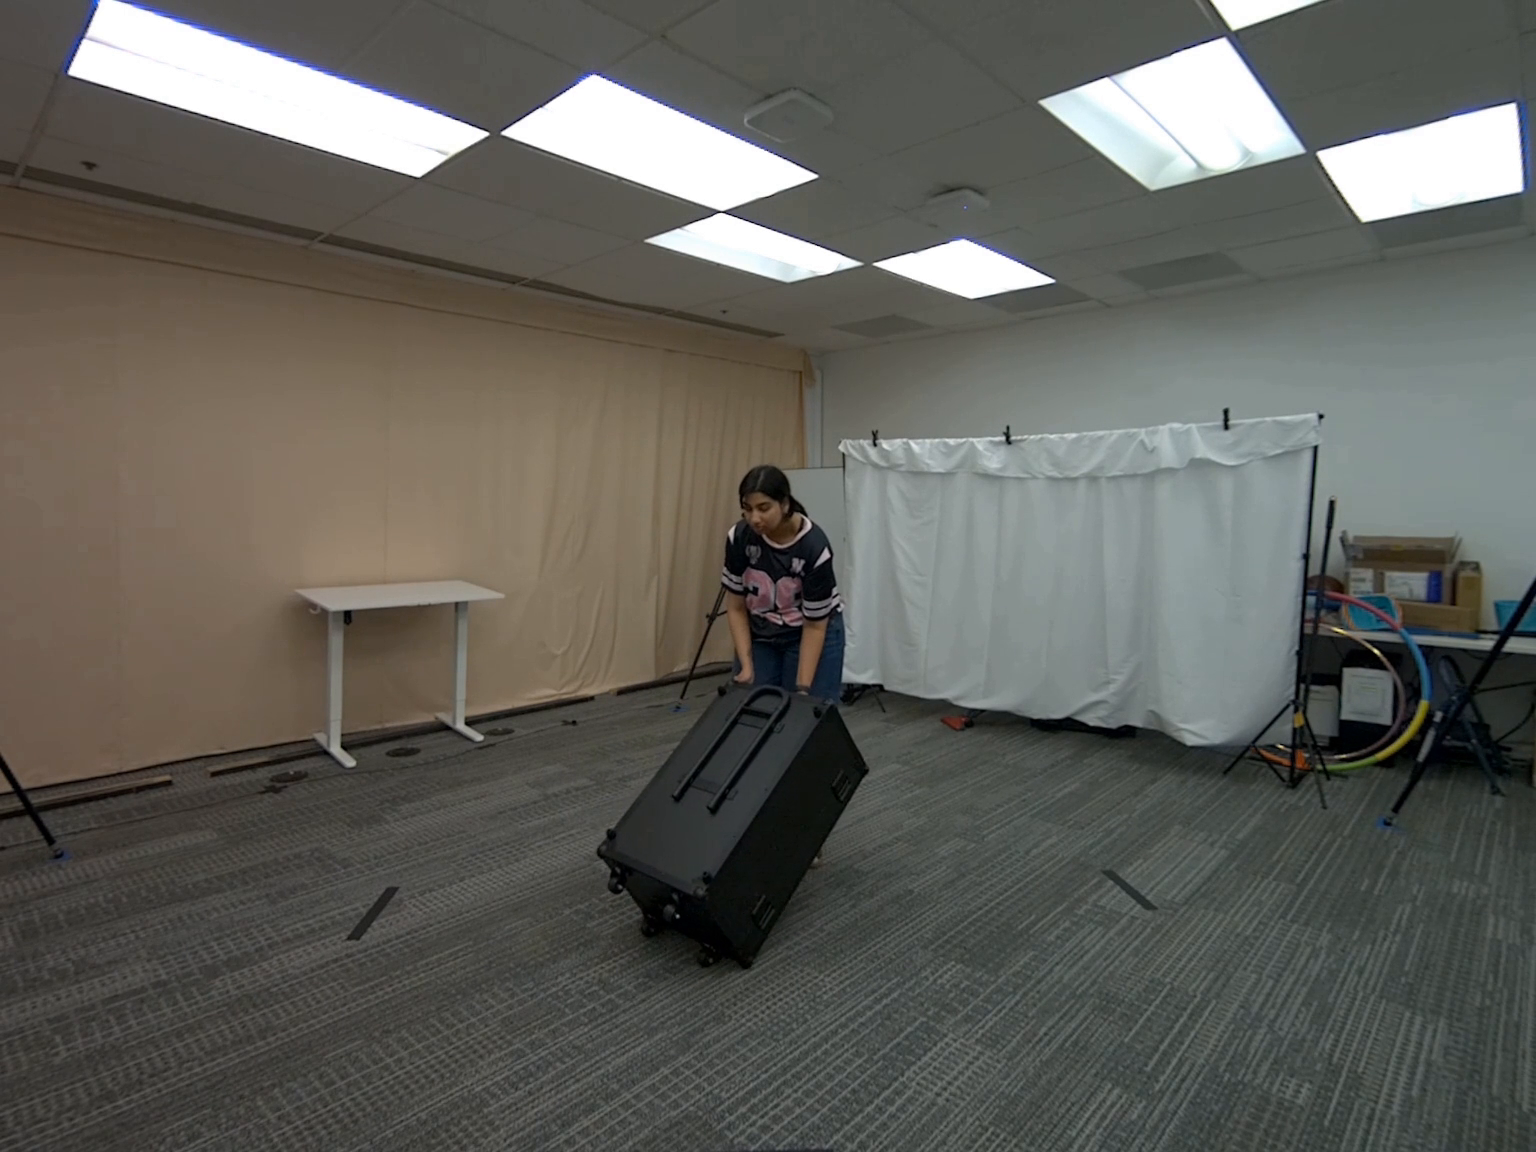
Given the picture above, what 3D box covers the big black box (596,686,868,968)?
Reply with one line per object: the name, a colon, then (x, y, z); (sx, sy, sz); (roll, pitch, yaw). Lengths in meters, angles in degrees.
big black box: (-0.112, 0.801, 2.804); (0.541, 0.375, 0.863); (5, 43, 42)
